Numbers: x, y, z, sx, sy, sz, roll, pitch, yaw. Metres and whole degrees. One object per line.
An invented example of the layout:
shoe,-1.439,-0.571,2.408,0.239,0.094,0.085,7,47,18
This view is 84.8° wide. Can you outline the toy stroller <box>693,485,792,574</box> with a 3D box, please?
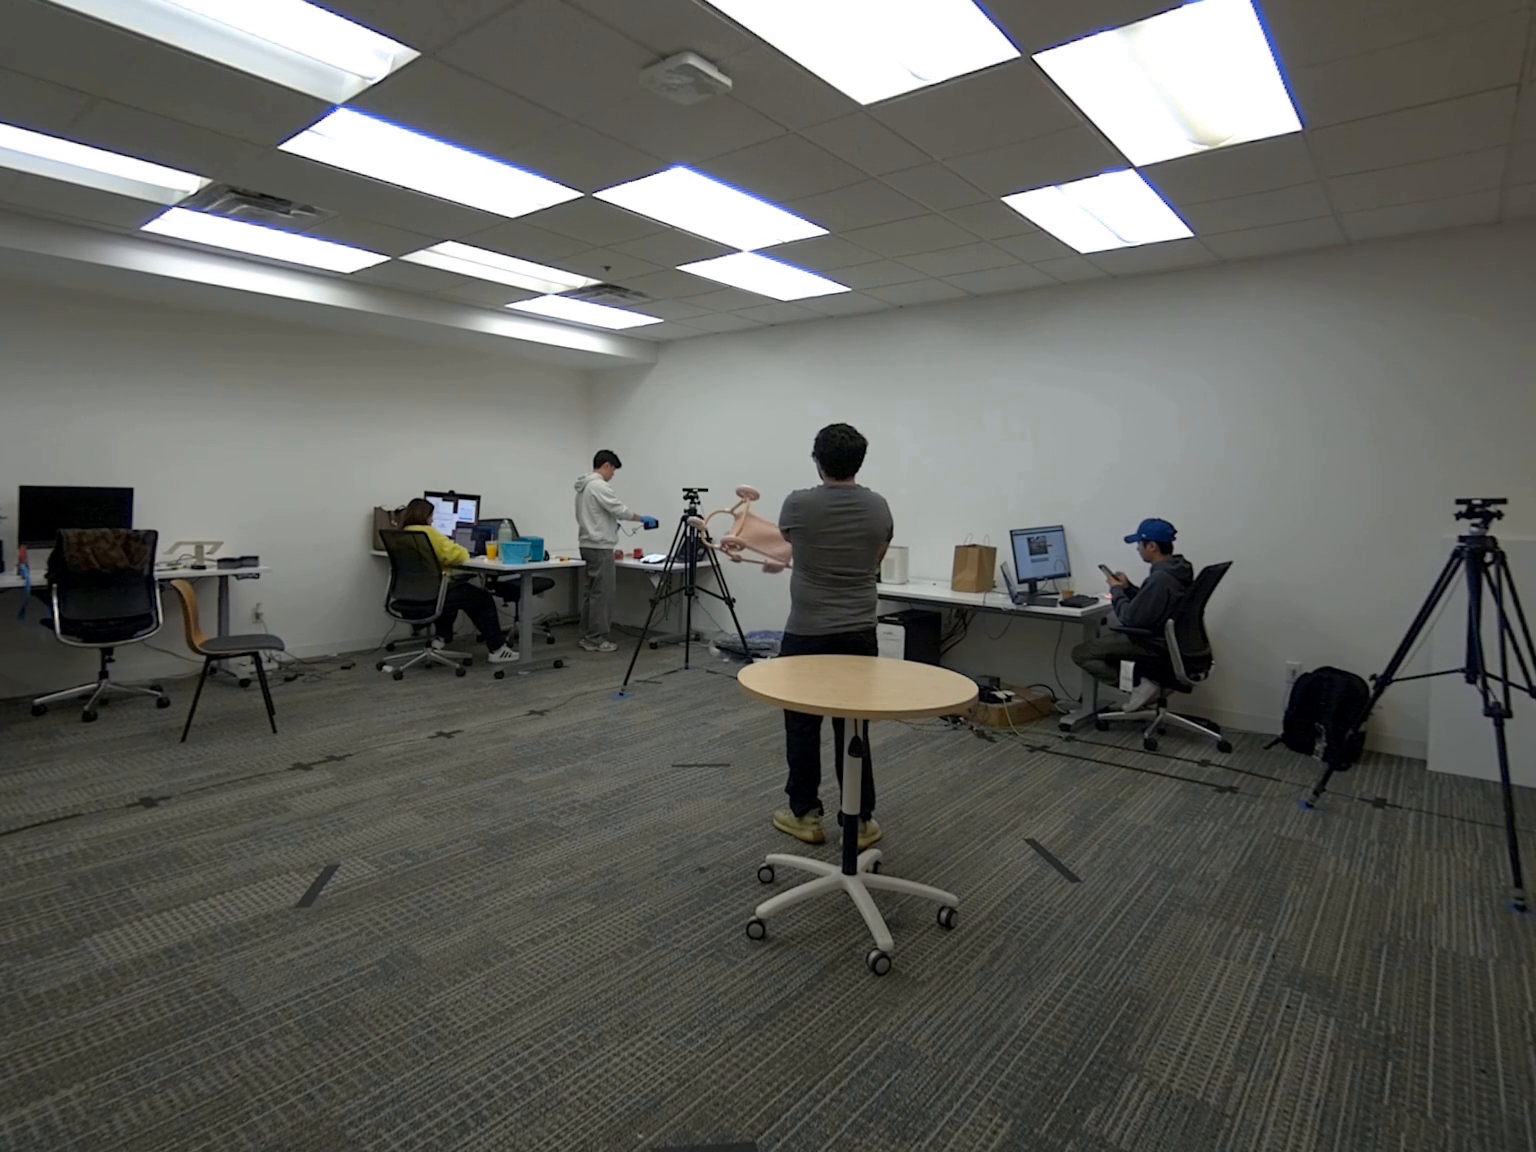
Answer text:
toy stroller,-0.075,-0.172,3.811,0.517,0.286,0.347,28,-30,-28
